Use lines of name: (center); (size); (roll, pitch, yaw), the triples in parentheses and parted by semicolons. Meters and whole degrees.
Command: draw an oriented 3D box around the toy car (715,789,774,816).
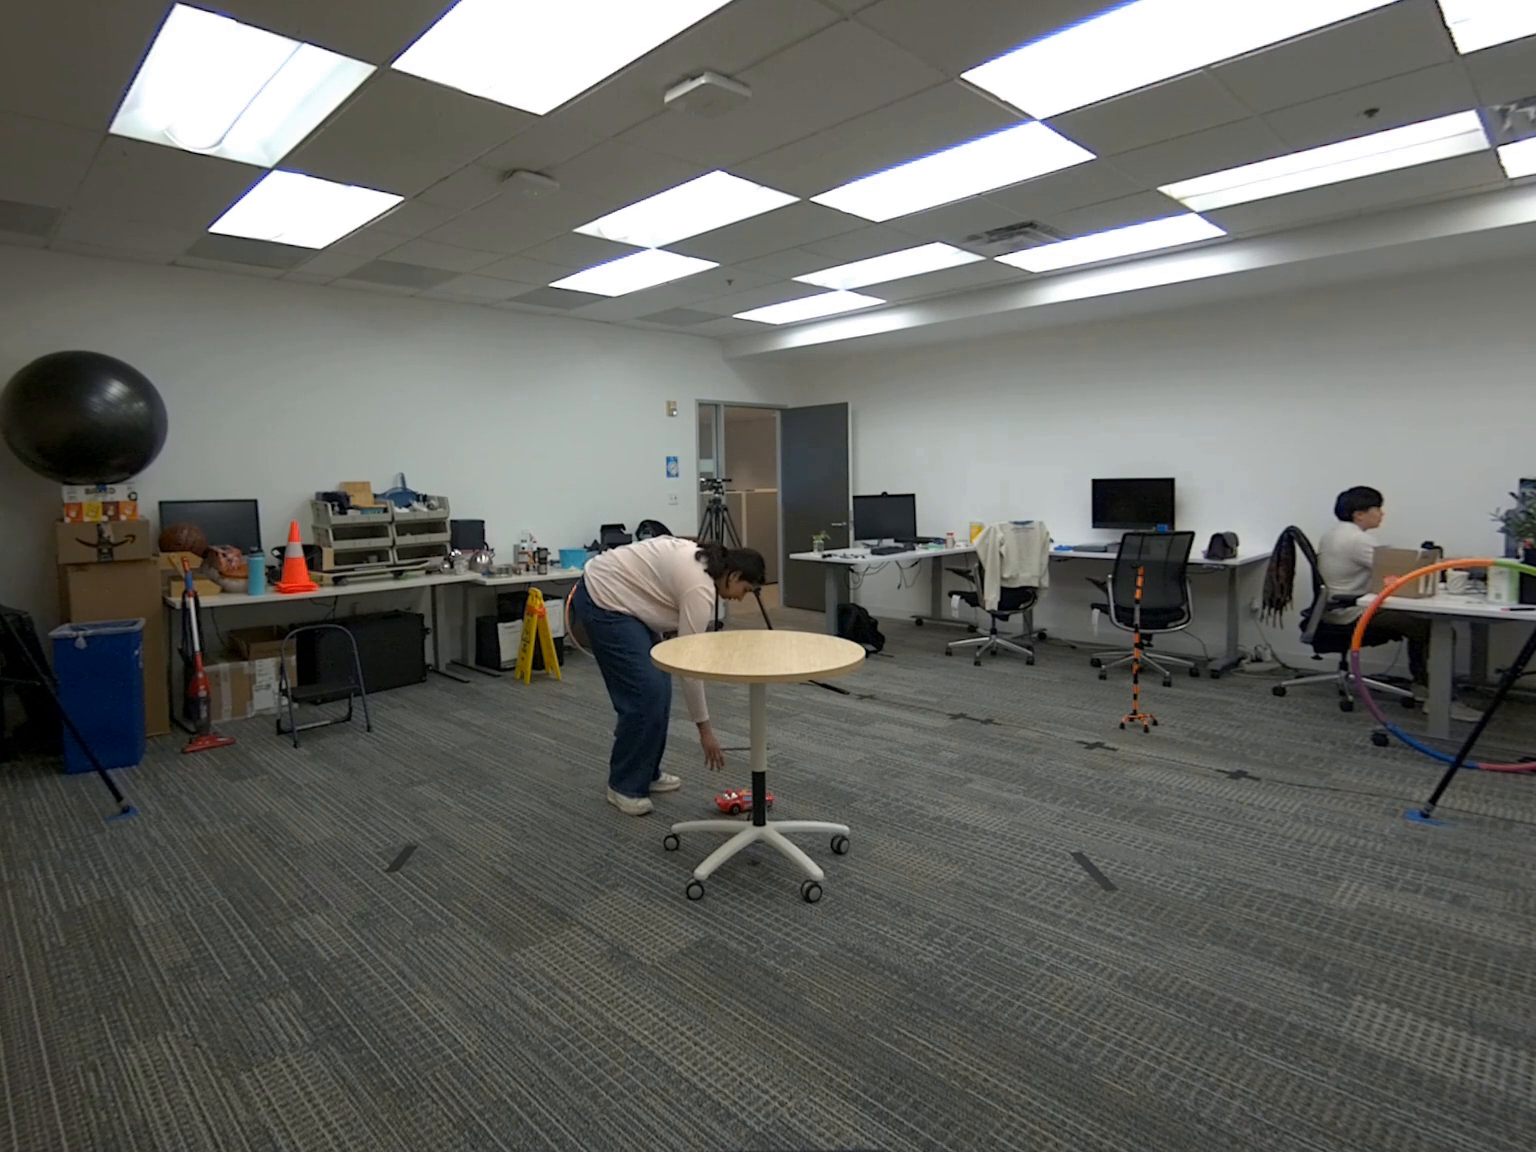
toy car: (-0.109, 0.952, 3.622); (0.250, 0.083, 0.133); (7, 3, -18)
